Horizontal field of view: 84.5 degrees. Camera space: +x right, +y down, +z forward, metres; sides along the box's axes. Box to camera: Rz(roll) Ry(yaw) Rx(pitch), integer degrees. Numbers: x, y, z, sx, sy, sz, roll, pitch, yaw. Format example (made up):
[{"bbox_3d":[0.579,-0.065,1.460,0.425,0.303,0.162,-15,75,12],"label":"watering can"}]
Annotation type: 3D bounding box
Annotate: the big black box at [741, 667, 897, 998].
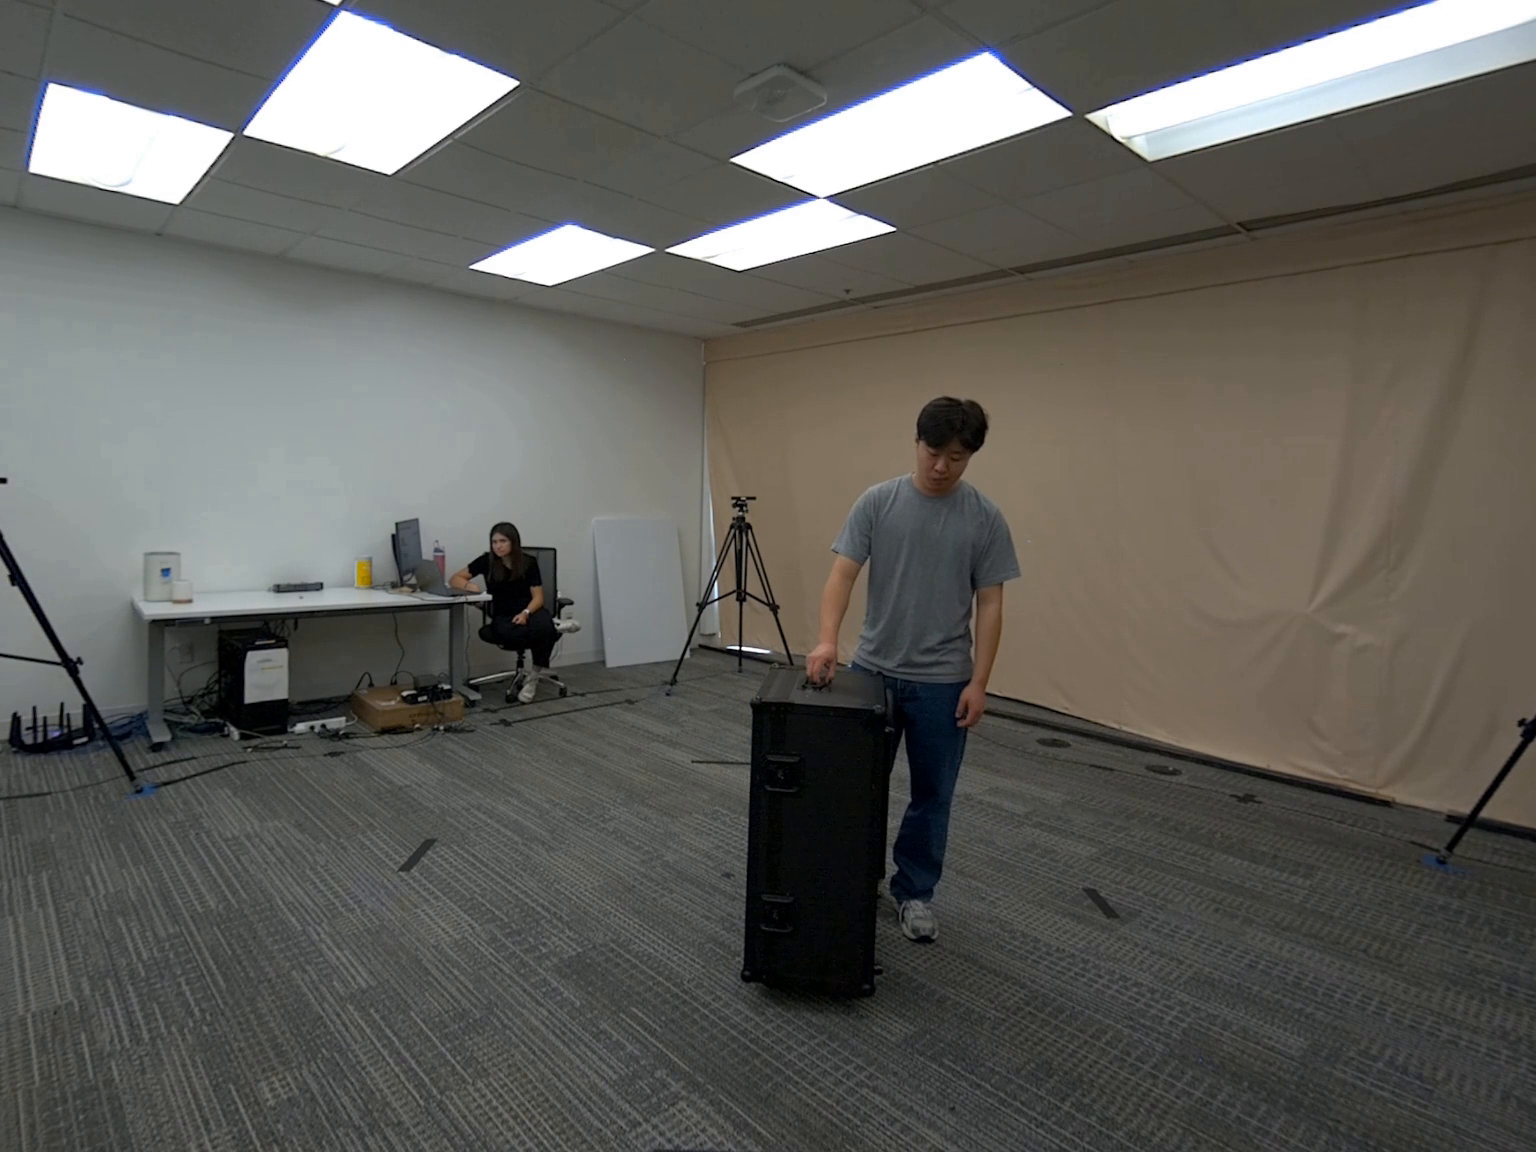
[{"bbox_3d":[0.151,0.753,2.479,0.399,0.859,0.519,2,4,8],"label":"big black box"}]
